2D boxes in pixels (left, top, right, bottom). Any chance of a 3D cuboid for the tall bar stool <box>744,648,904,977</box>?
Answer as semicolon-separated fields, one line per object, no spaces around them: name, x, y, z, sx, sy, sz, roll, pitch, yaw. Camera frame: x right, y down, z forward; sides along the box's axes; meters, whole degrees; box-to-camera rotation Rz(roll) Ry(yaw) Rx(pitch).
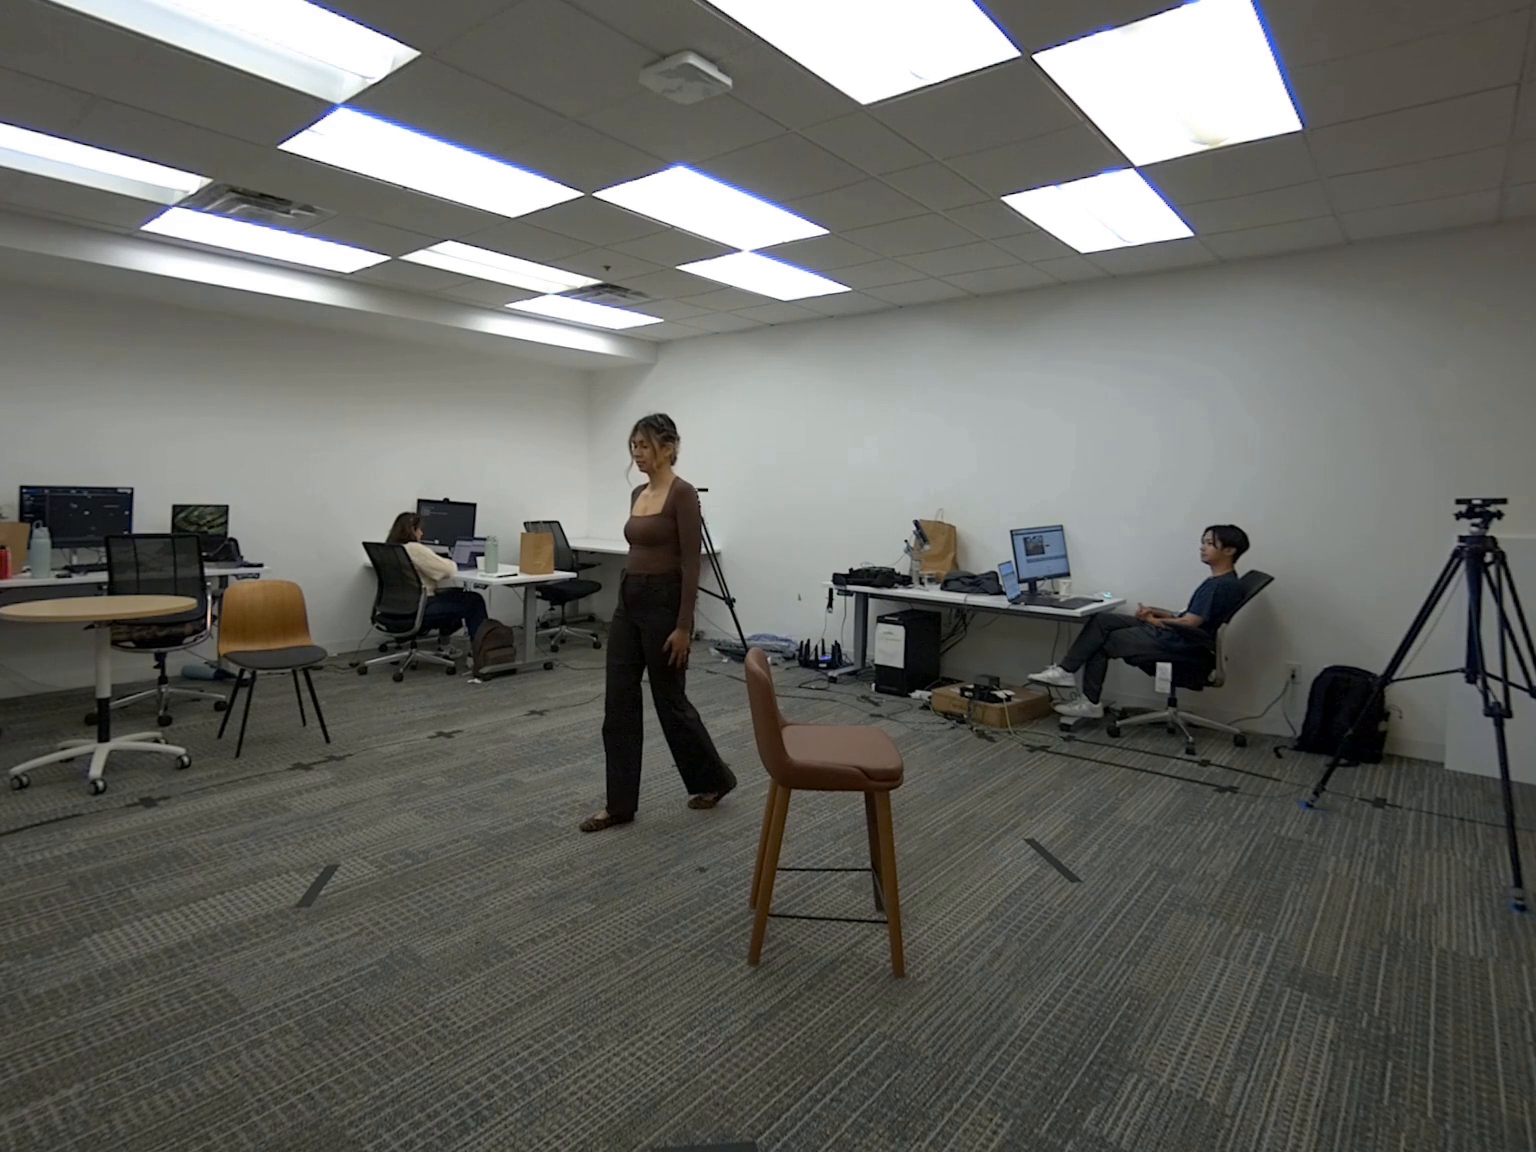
tall bar stool;0.168;0.690;2.633;0.469;0.888;0.457;0;3;1
